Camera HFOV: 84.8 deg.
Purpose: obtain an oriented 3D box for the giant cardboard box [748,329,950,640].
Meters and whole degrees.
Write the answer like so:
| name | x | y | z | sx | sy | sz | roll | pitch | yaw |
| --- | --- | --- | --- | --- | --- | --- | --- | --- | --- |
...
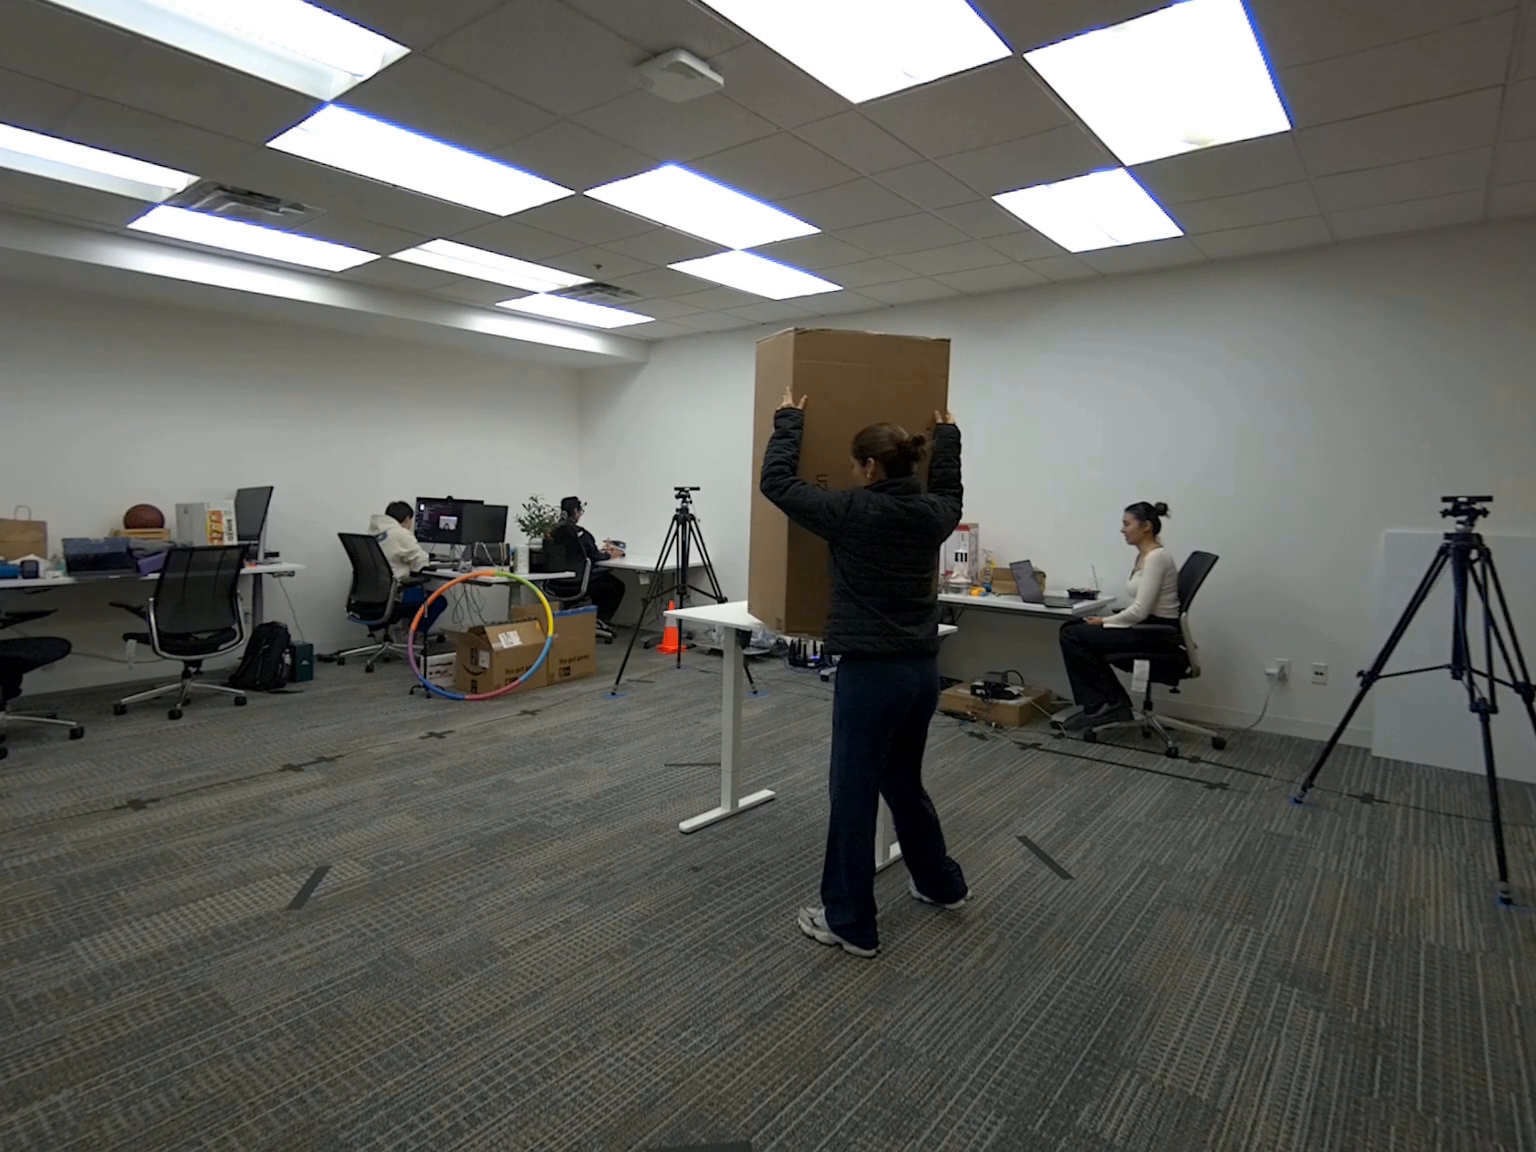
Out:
| name | x | y | z | sx | sy | sz | roll | pitch | yaw |
| --- | --- | --- | --- | --- | --- | --- | --- | --- | --- |
| giant cardboard box | 0.292 | -0.337 | 3.084 | 0.575 | 1.022 | 0.456 | 0 | 5 | -15 |
